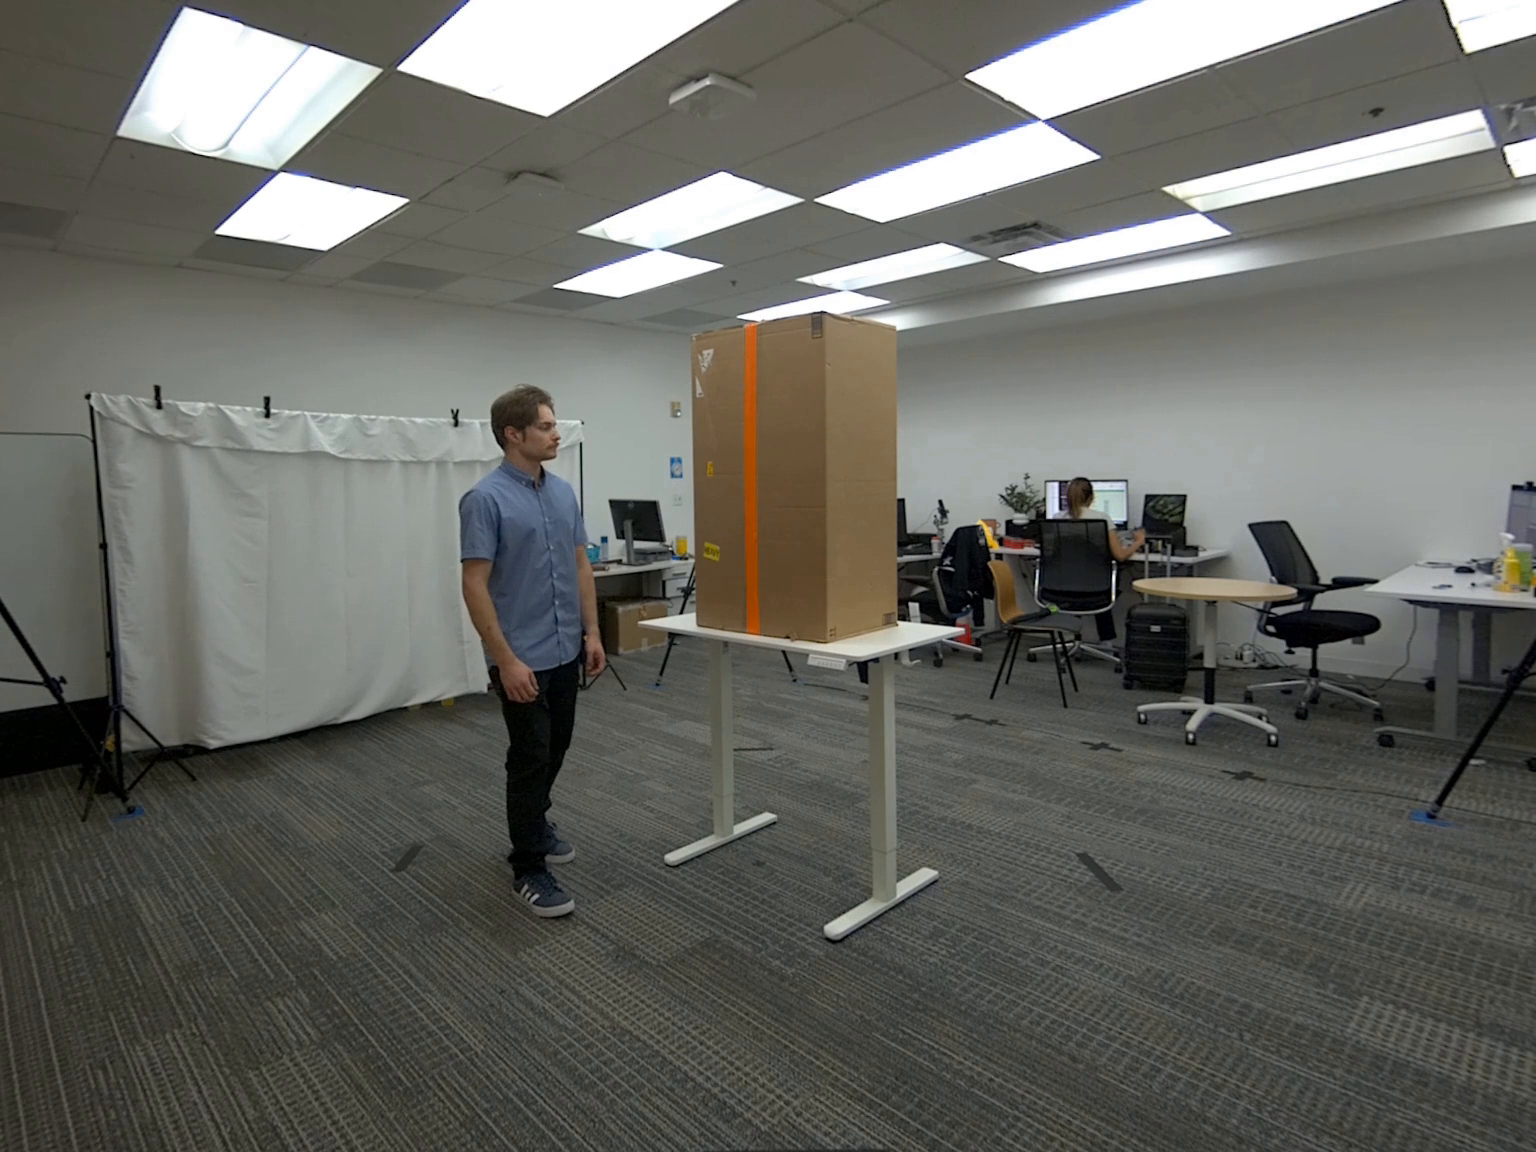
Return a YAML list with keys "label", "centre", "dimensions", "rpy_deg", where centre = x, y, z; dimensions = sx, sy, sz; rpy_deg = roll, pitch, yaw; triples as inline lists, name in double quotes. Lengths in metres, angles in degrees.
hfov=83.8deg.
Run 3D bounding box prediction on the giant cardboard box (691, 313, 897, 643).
- label: "giant cardboard box"
  centre: [0.088, -0.329, 2.954]
  dimensions: [0.595, 1.022, 0.415]
  rpy_deg: [3, 5, 42]
